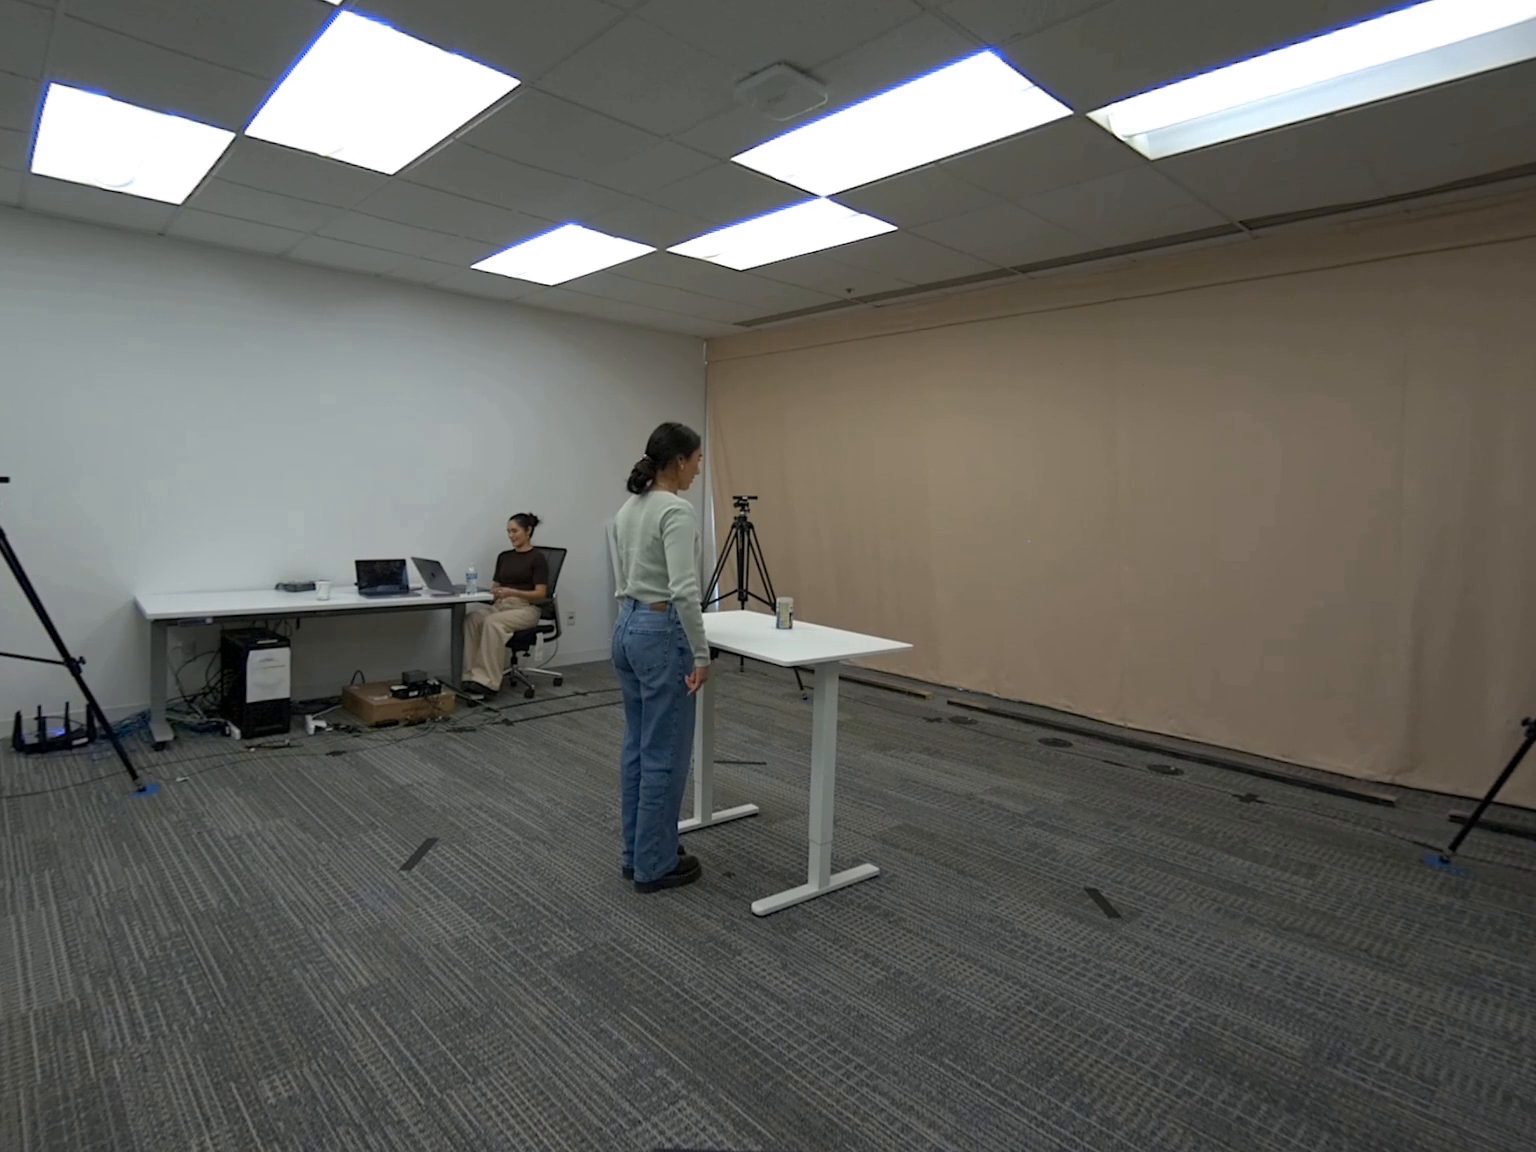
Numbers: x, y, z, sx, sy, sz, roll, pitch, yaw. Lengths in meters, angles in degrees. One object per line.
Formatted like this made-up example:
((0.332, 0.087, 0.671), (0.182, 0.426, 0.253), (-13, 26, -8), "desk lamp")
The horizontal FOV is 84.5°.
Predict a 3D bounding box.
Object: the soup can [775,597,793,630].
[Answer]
((0.061, 0.150, 3.300), (0.067, 0.121, 0.067), (1, 4, -1), "soup can")
